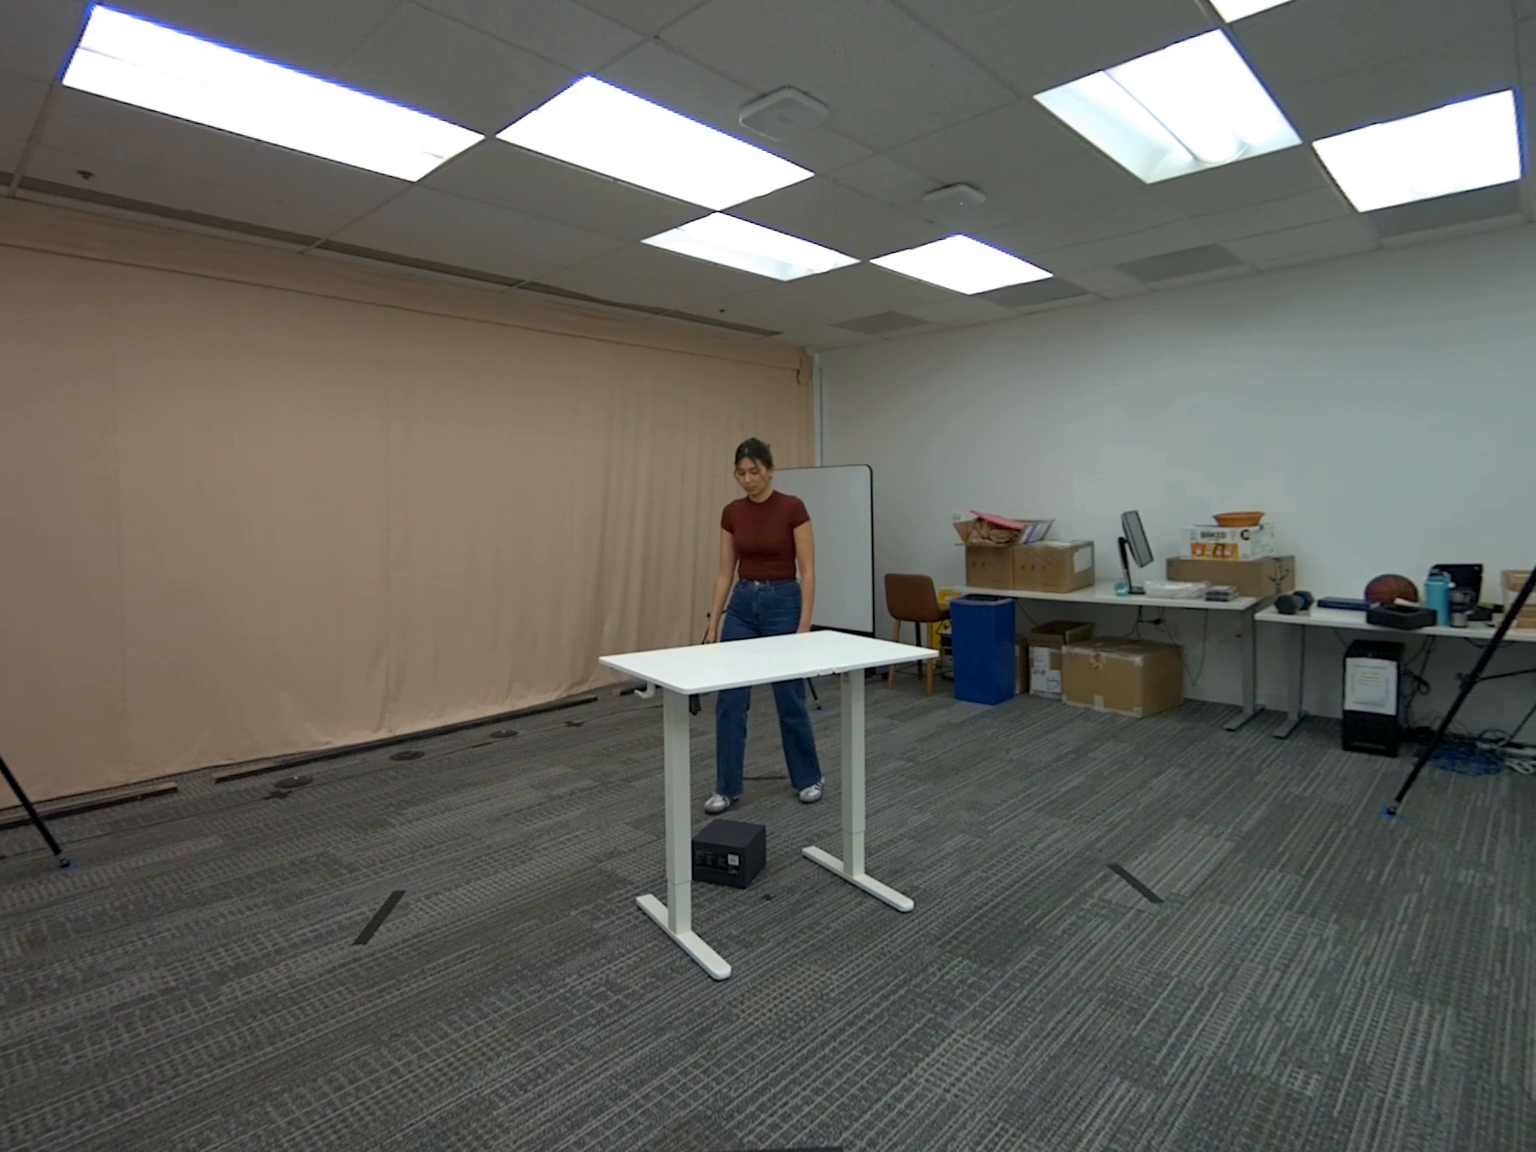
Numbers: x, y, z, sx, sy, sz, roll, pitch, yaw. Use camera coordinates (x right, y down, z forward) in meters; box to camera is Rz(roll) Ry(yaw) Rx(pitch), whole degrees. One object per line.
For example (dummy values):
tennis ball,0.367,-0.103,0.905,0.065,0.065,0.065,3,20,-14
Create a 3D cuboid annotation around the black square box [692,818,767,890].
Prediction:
black square box,-0.142,1.037,3.182,0.222,0.155,0.223,0,5,21
